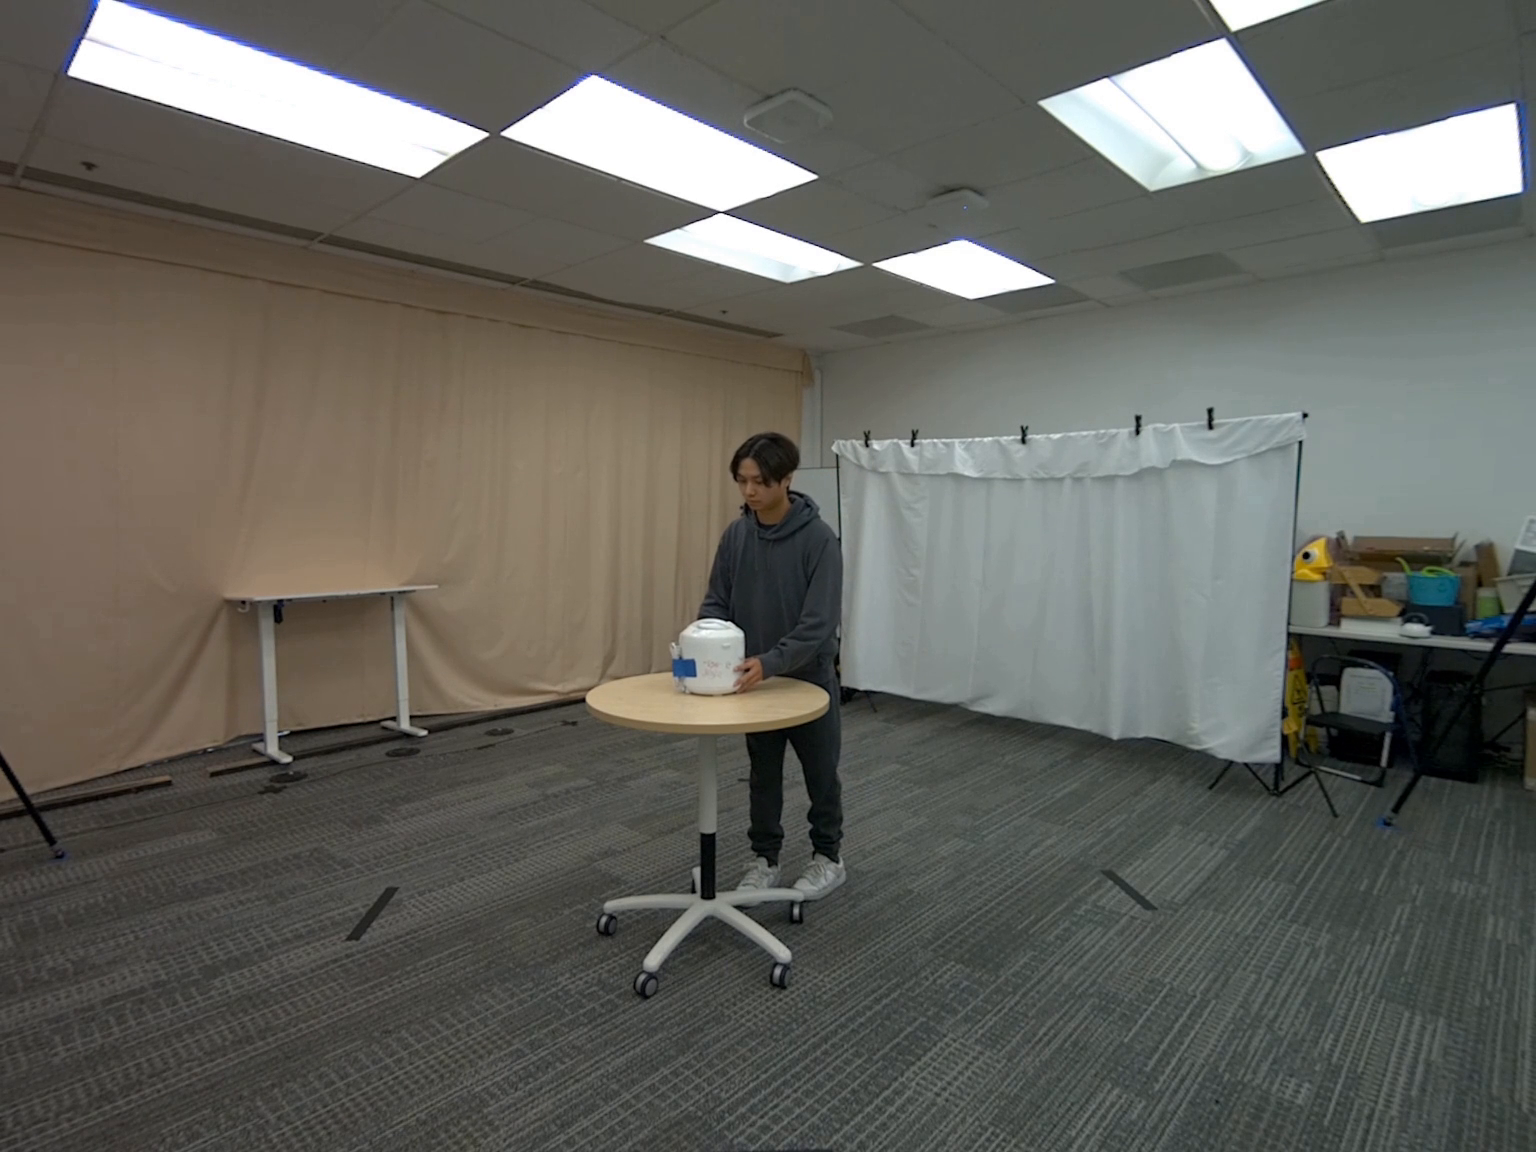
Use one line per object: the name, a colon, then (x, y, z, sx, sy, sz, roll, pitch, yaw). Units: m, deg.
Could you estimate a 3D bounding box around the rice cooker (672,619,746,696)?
rice cooker: (-0.179, 0.257, 2.715, 0.226, 0.232, 0.212, 1, 3, 24)
